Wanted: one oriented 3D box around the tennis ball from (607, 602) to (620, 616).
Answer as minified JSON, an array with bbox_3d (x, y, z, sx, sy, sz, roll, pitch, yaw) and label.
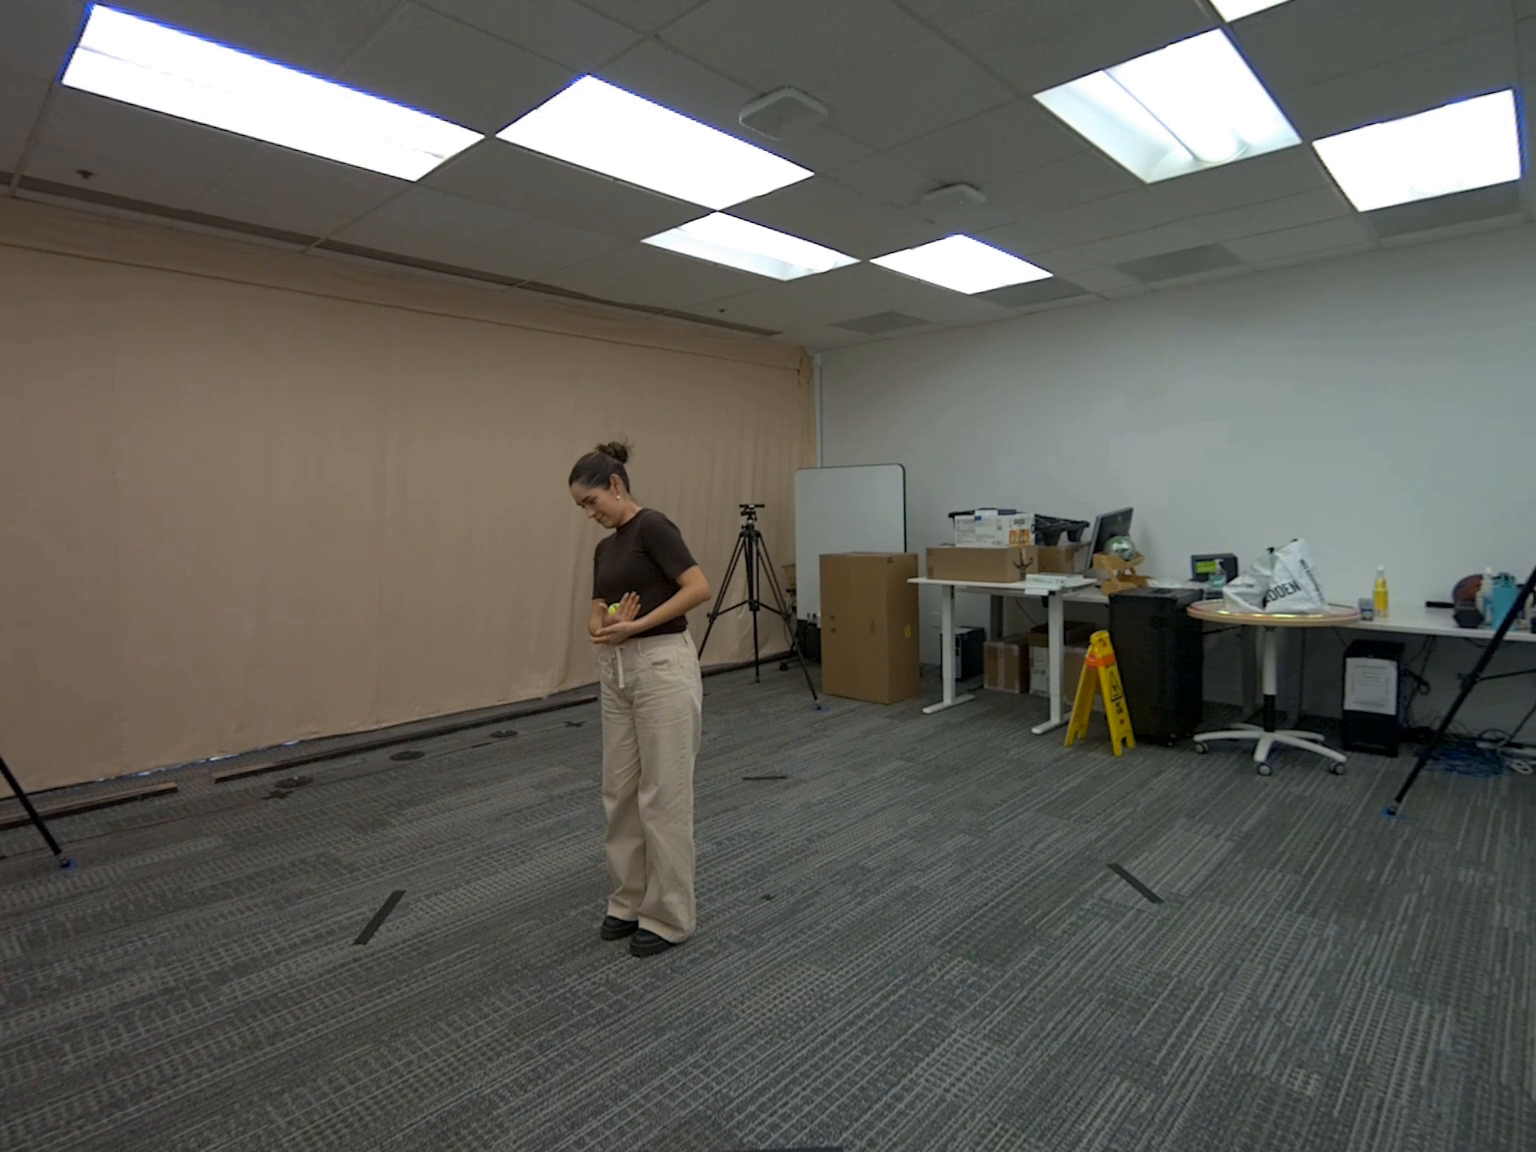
[{"bbox_3d":[-0.461,0.116,2.643,0.066,0.066,0.067,-1,4,-2],"label":"tennis ball"}]
